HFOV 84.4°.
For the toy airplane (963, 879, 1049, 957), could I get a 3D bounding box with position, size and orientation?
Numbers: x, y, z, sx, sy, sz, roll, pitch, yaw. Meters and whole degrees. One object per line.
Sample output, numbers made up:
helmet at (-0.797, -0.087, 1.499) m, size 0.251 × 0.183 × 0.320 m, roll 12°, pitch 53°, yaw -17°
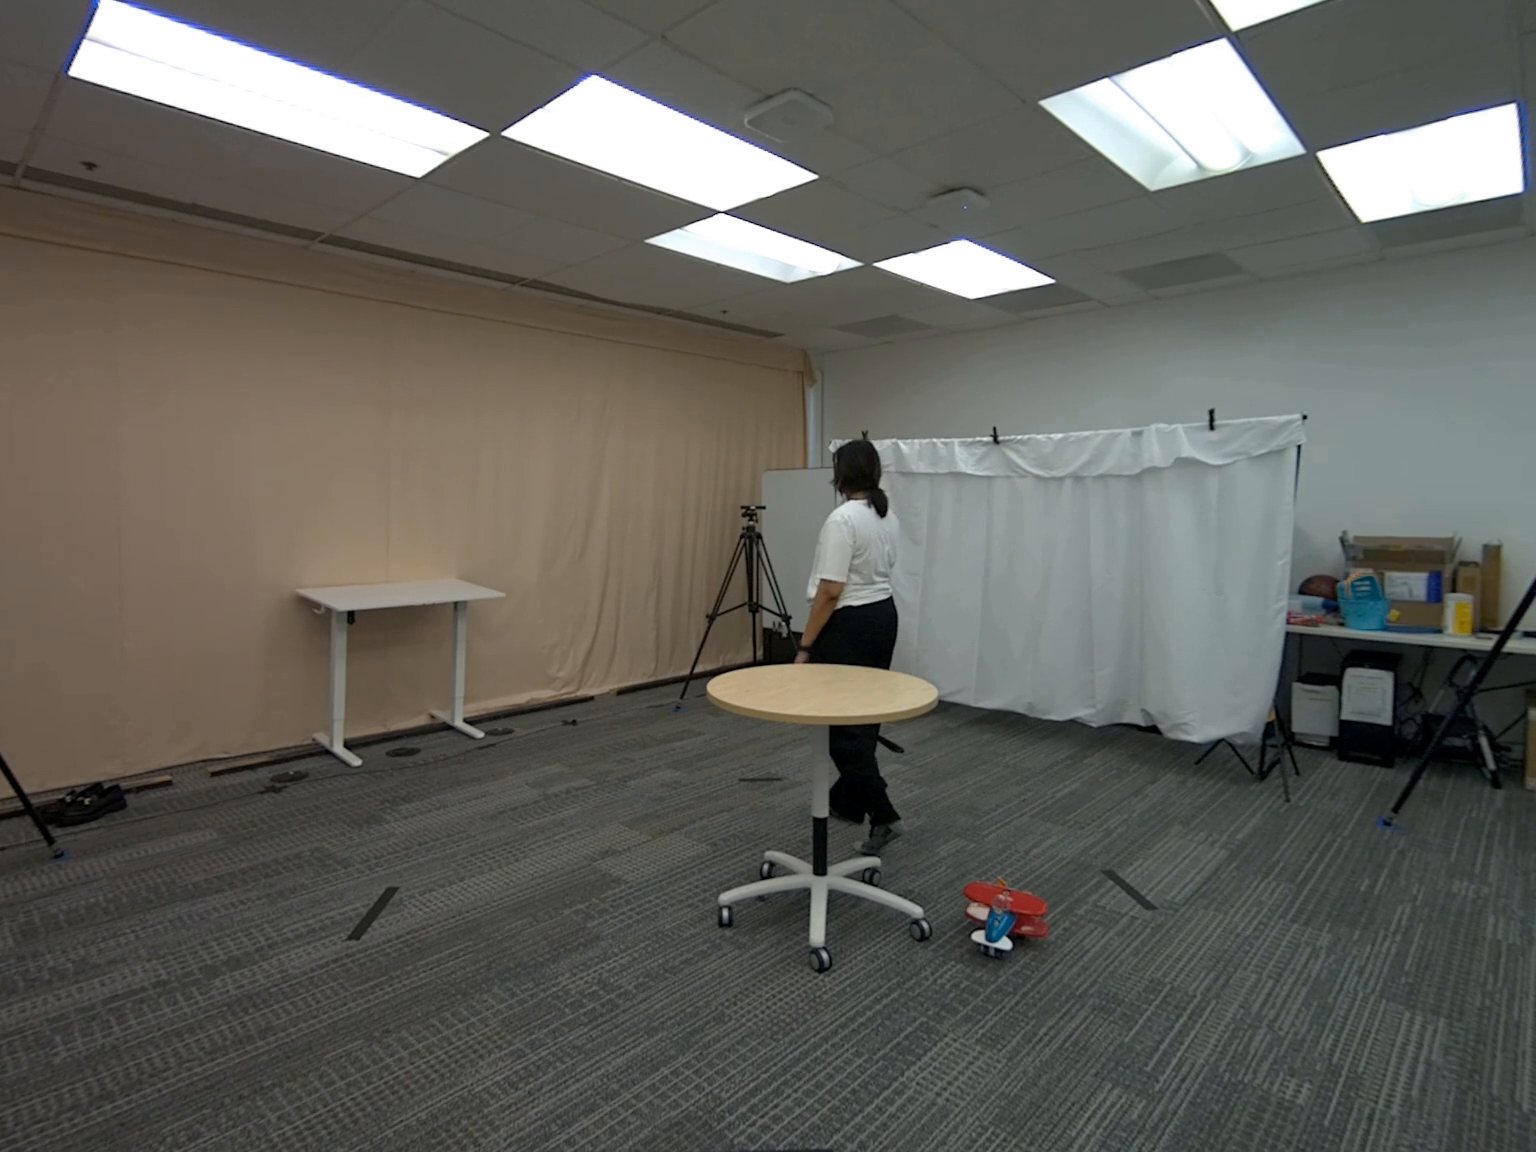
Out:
toy airplane at (0.773, 1.095, 2.651) m, size 0.252 × 0.156 × 0.259 m, roll 0°, pitch 3°, yaw 3°
